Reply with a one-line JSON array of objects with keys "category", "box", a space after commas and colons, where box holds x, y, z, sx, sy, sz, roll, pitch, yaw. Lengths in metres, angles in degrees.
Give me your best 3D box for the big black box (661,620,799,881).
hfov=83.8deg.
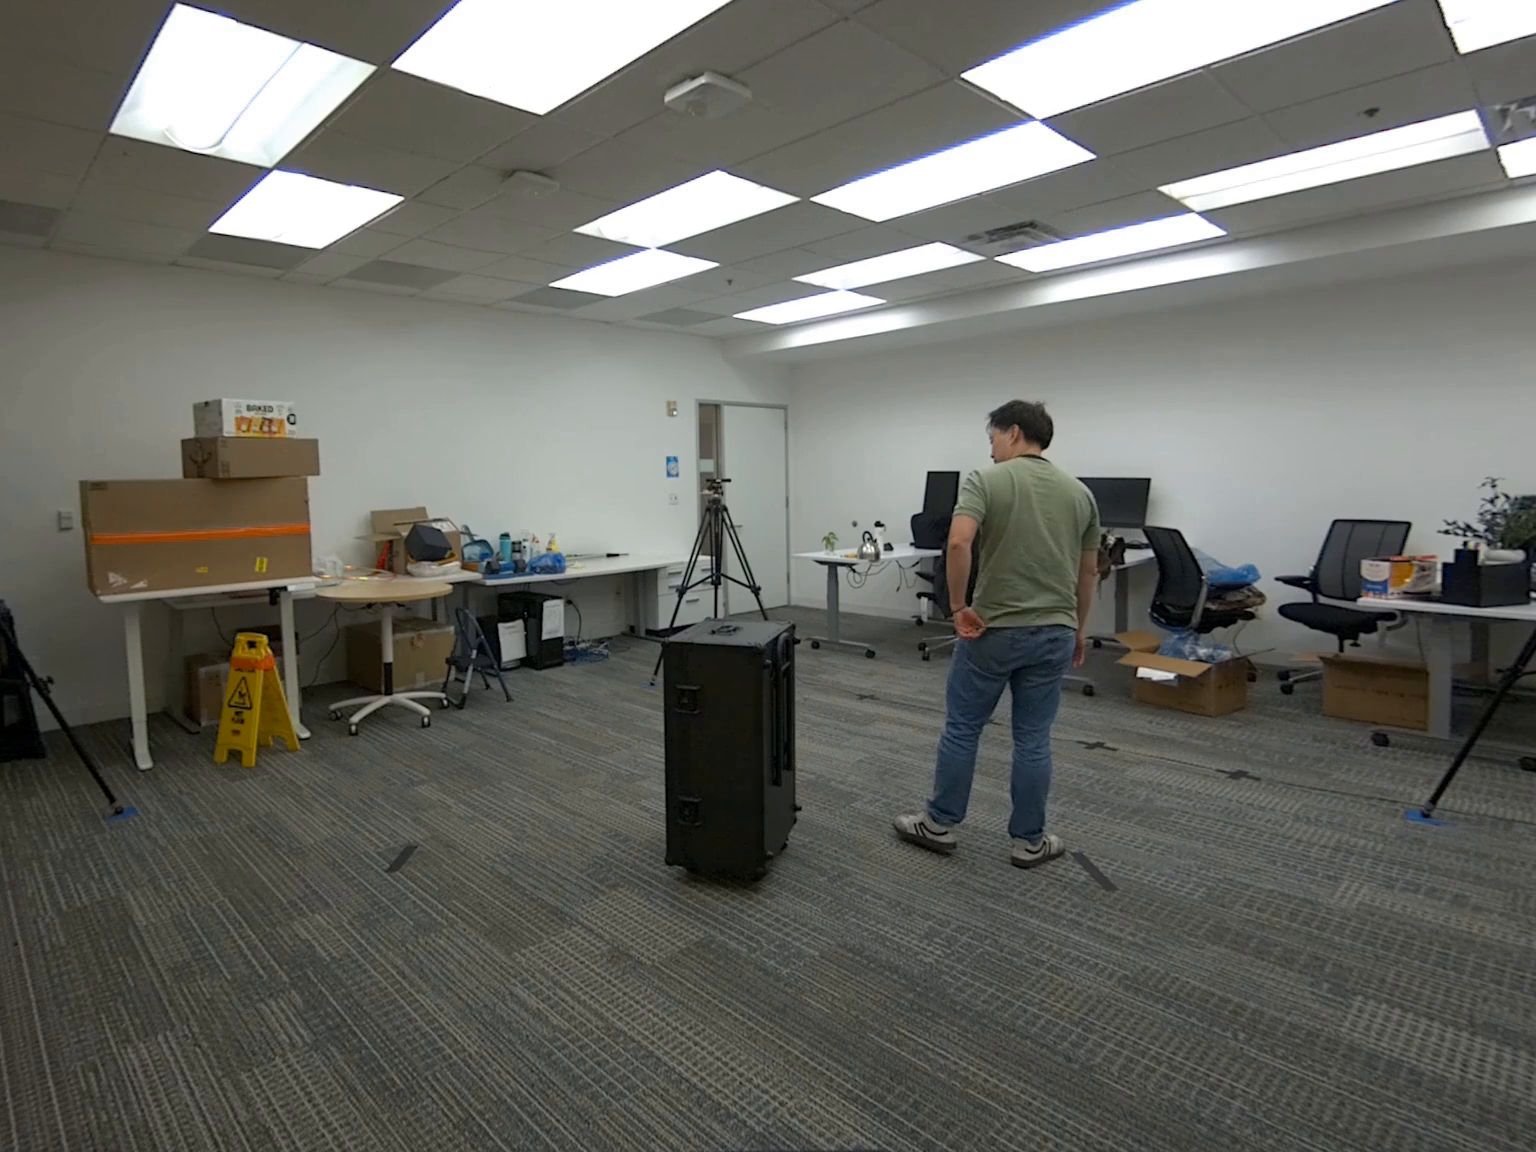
[{"category": "big black box", "box": [-0.118, 0.621, 3.094, 0.402, 0.859, 0.515, 1, 4, 14]}]
